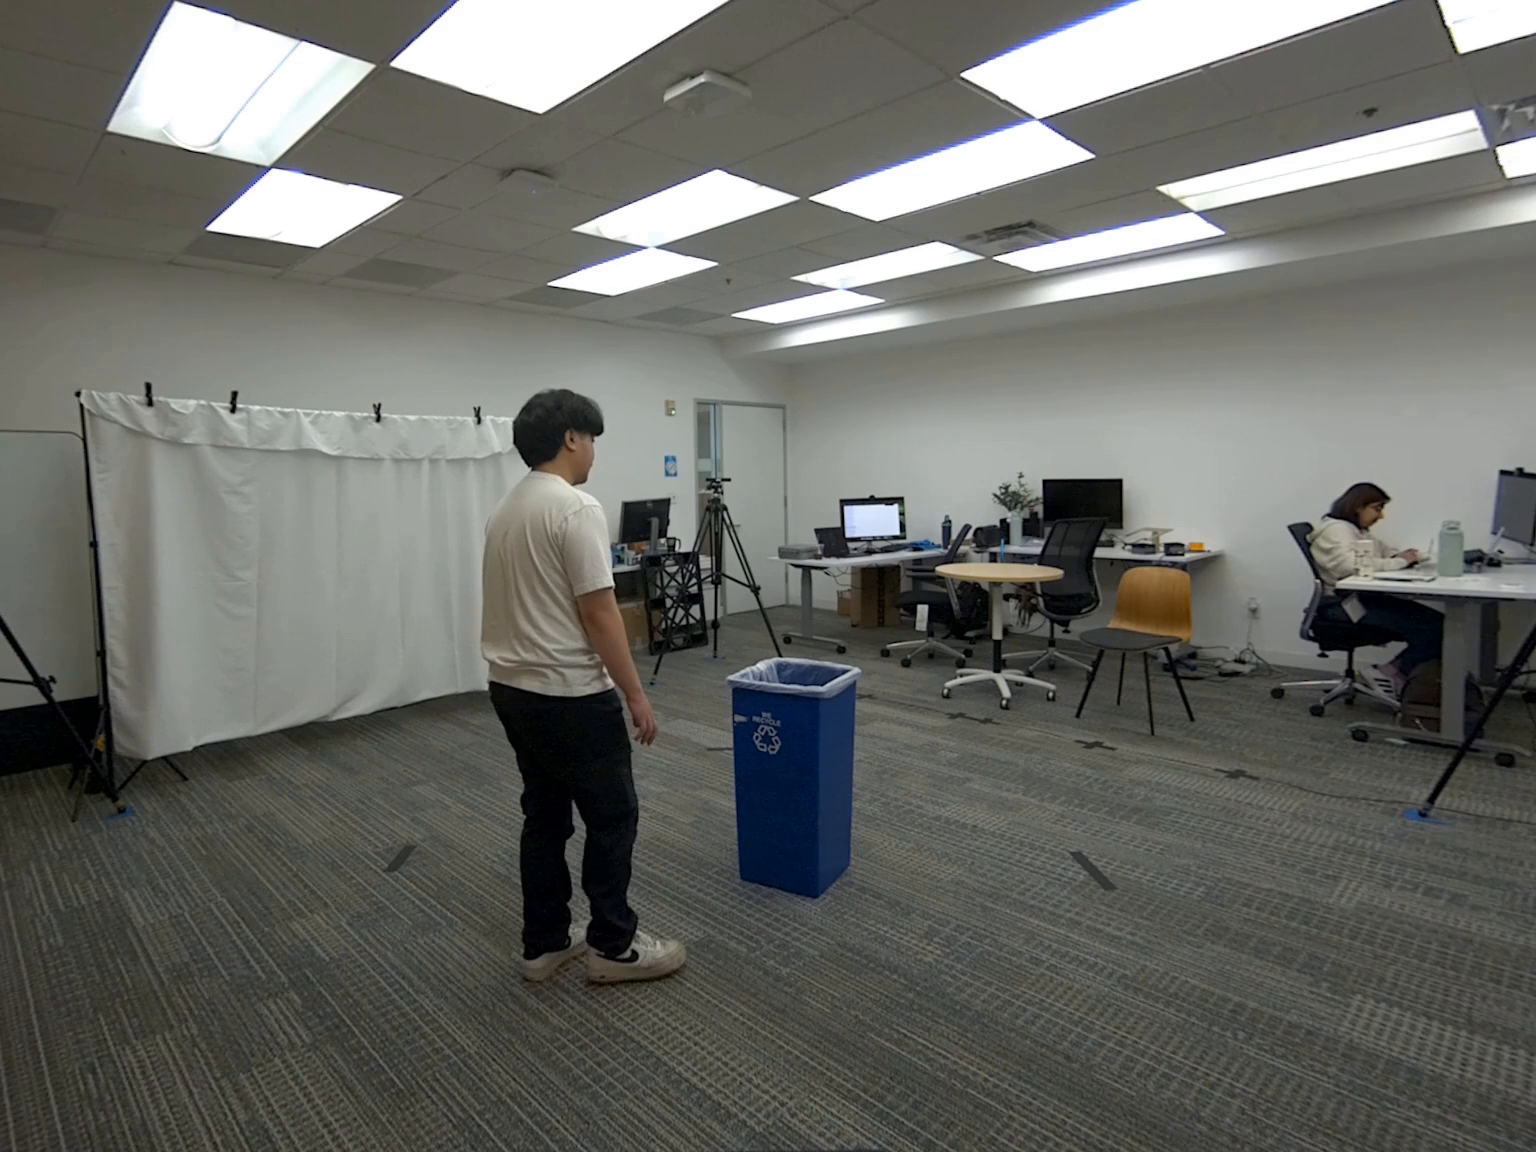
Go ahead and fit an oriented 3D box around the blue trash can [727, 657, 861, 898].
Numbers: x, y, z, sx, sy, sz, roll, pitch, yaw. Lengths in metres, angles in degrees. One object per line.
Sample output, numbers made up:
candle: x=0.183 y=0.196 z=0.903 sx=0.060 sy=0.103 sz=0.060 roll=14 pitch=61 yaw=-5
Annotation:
blue trash can: x=0.105 y=0.691 z=3.009 sx=0.383 sy=0.711 sz=0.370 roll=1 pitch=5 yaw=29
